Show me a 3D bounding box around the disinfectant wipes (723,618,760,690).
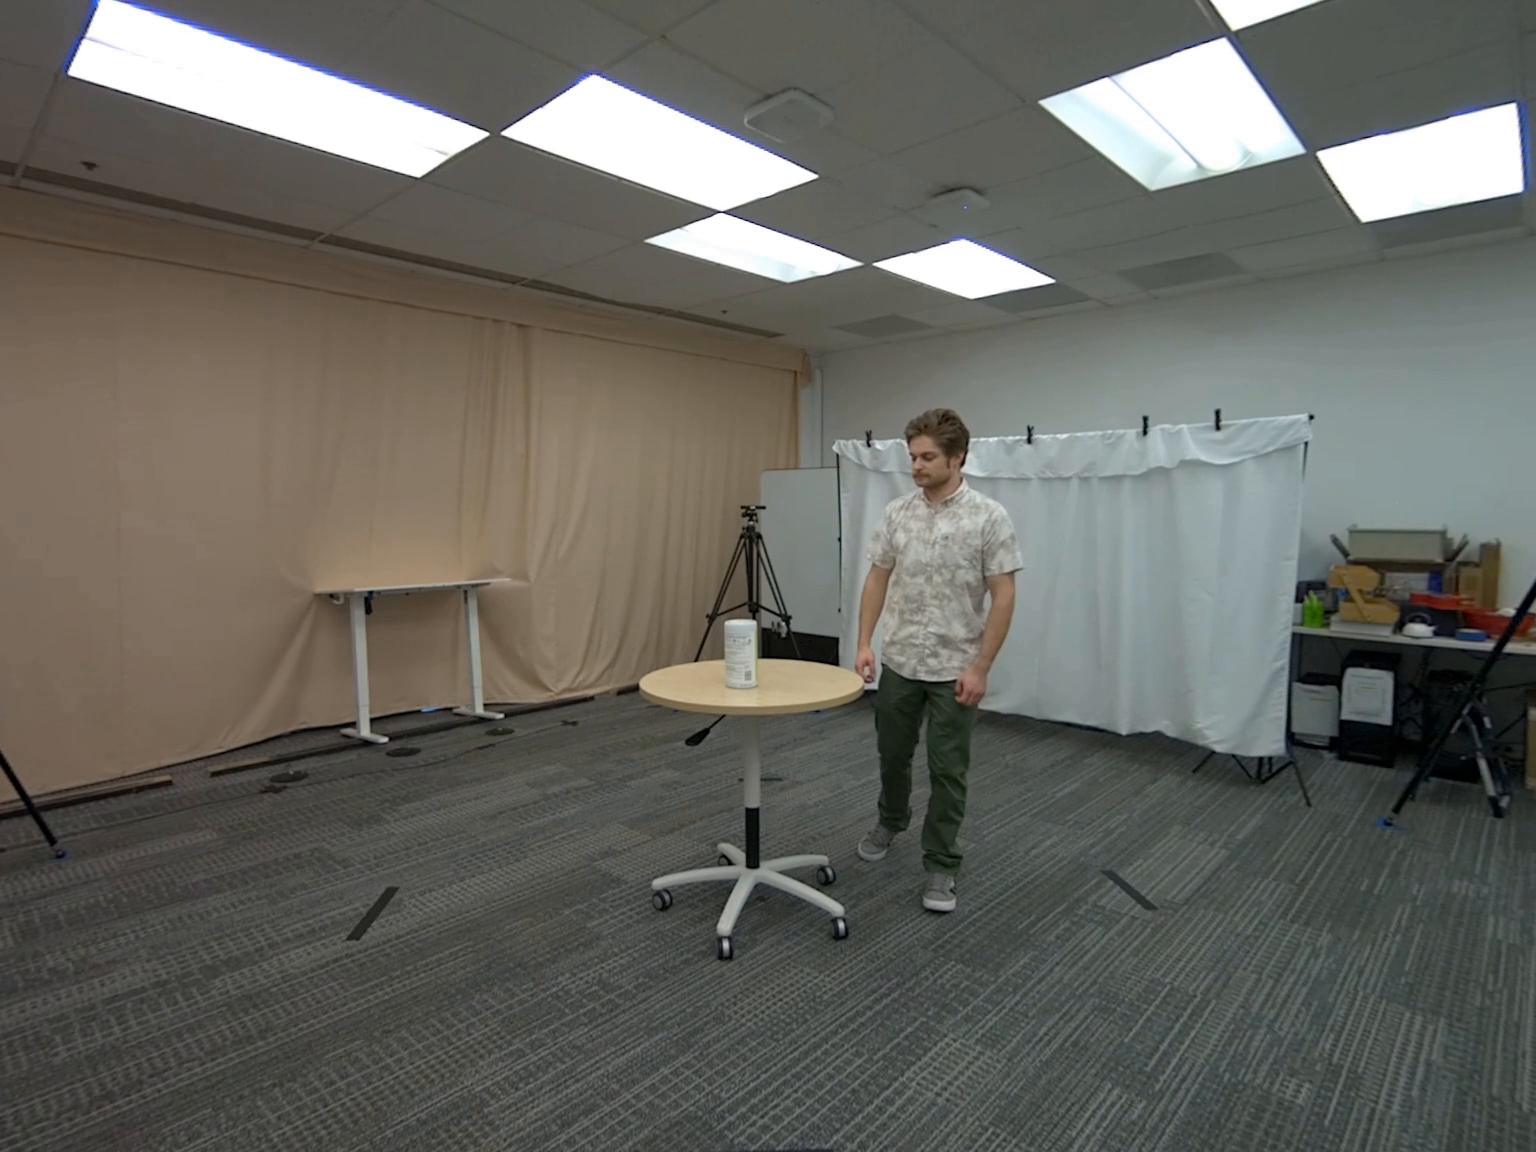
[{"bbox_3d":[-0.078,0.261,2.791,0.118,0.217,0.118,-1,3,-2],"label":"disinfectant wipes"}]
